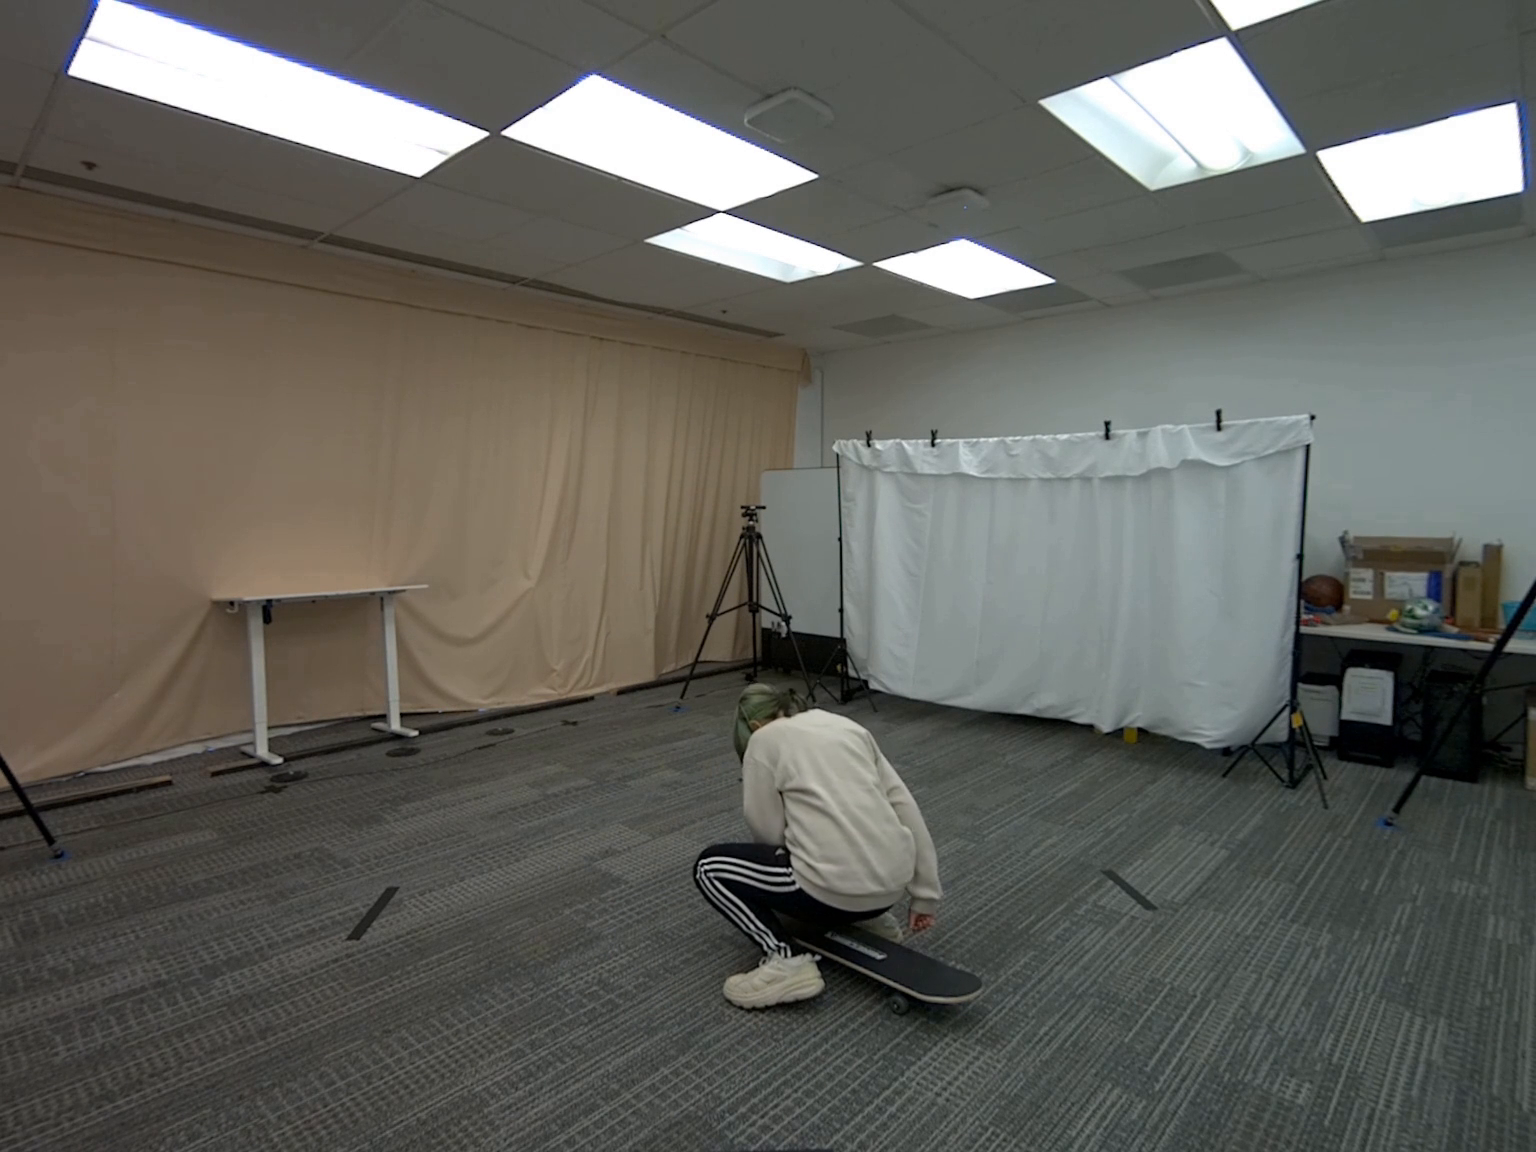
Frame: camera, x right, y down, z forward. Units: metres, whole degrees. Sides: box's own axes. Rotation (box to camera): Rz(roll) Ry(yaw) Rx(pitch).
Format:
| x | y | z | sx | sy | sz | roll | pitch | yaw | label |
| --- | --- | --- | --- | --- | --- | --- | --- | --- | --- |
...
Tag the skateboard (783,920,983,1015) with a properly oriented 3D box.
| x | y | z | sx | sy | sz | roll | pitch | yaw | label |
| --- | --- | --- | --- | --- | --- | --- | --- | --- | --- |
| 0.265 | 1.123 | 2.508 | 0.812 | 0.110 | 0.187 | 4 | 5 | 42 | skateboard |
